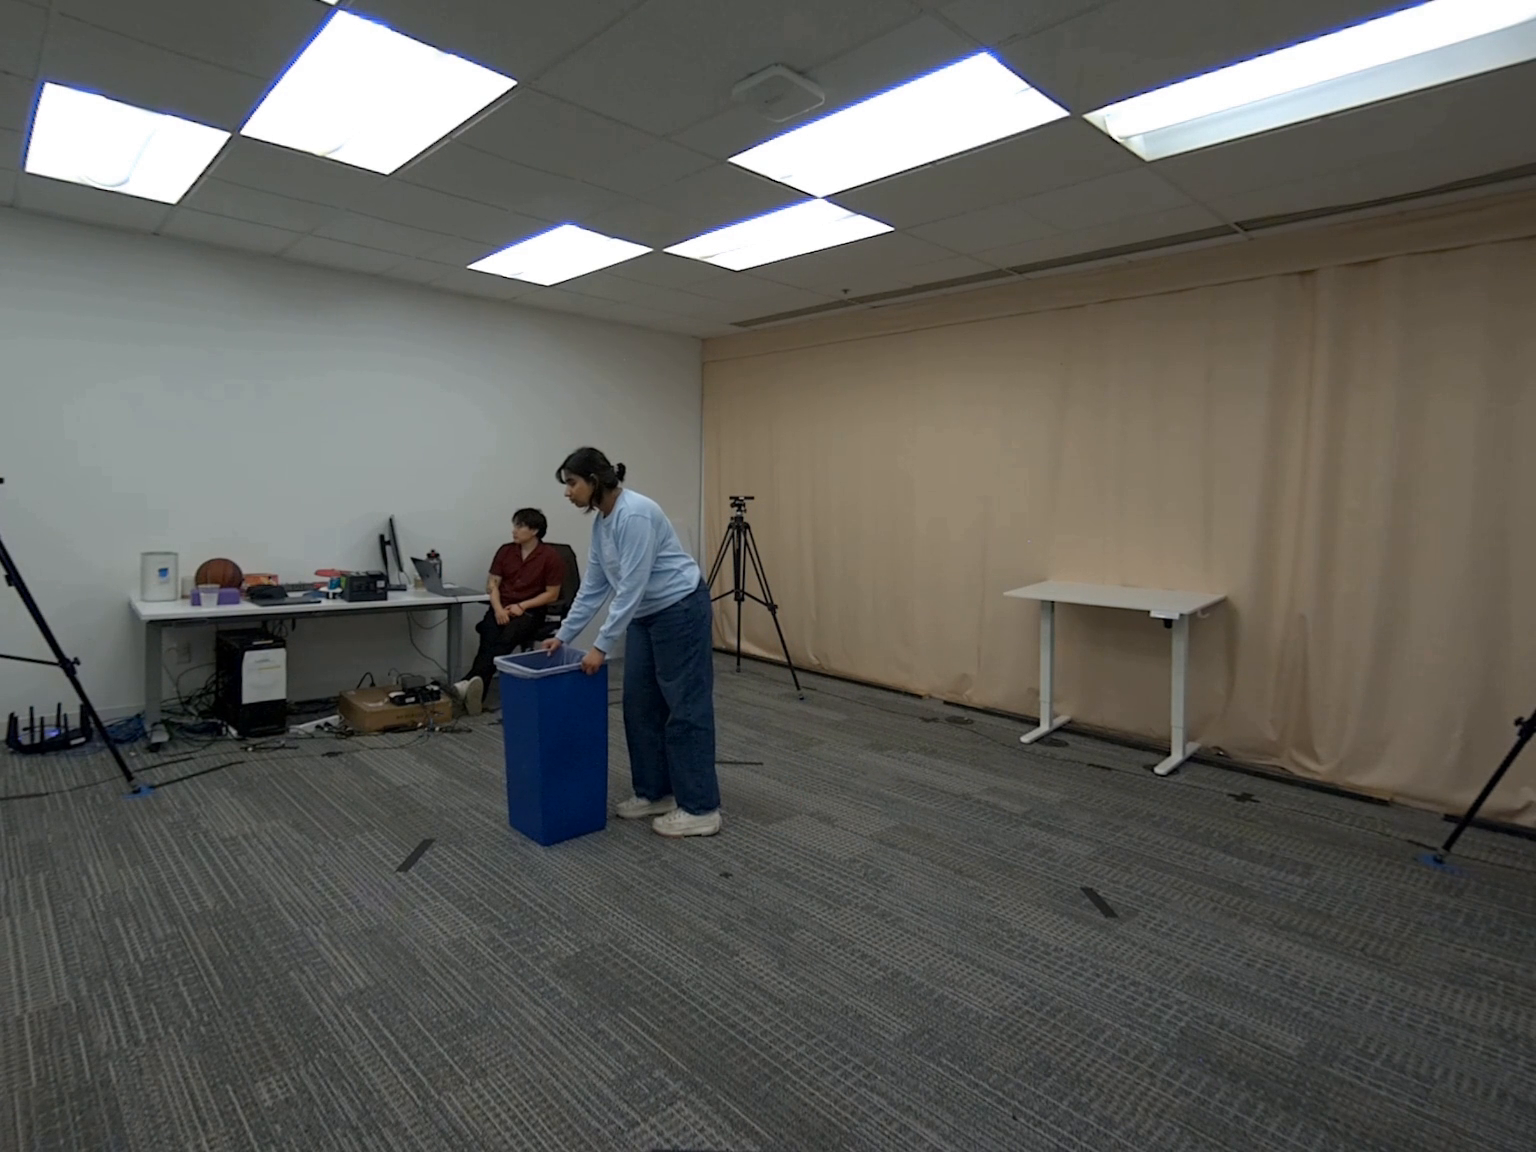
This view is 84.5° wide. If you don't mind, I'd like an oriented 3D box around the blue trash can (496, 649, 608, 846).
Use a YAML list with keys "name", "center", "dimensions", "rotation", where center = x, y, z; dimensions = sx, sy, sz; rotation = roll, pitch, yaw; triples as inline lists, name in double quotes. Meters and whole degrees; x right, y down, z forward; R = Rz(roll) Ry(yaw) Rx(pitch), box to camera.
- name: "blue trash can"
  center: [-0.898, 0.694, 3.487]
  dimensions: [0.366, 0.711, 0.387]
  rotation: [-4, 5, -44]
